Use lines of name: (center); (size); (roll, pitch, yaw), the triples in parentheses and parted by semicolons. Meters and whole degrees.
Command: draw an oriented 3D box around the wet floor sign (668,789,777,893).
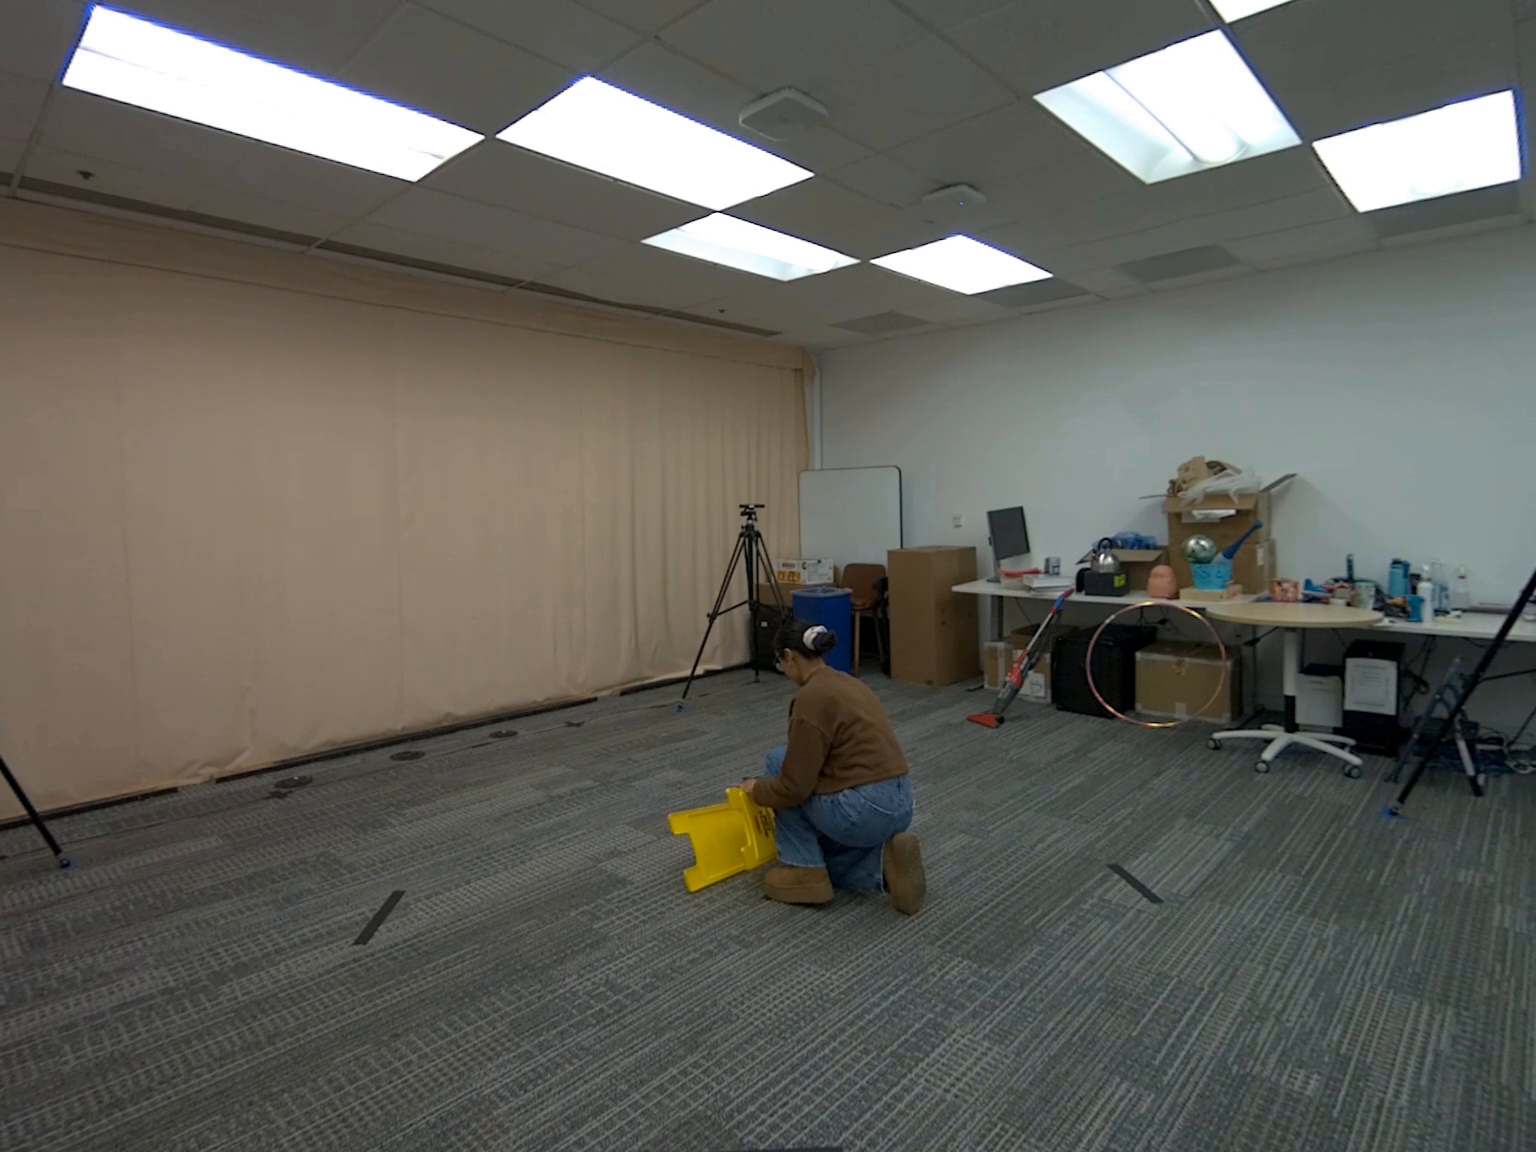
wet floor sign: (-0.036, 0.974, 3.247); (0.294, 0.287, 0.624); (-33, -23, 32)
